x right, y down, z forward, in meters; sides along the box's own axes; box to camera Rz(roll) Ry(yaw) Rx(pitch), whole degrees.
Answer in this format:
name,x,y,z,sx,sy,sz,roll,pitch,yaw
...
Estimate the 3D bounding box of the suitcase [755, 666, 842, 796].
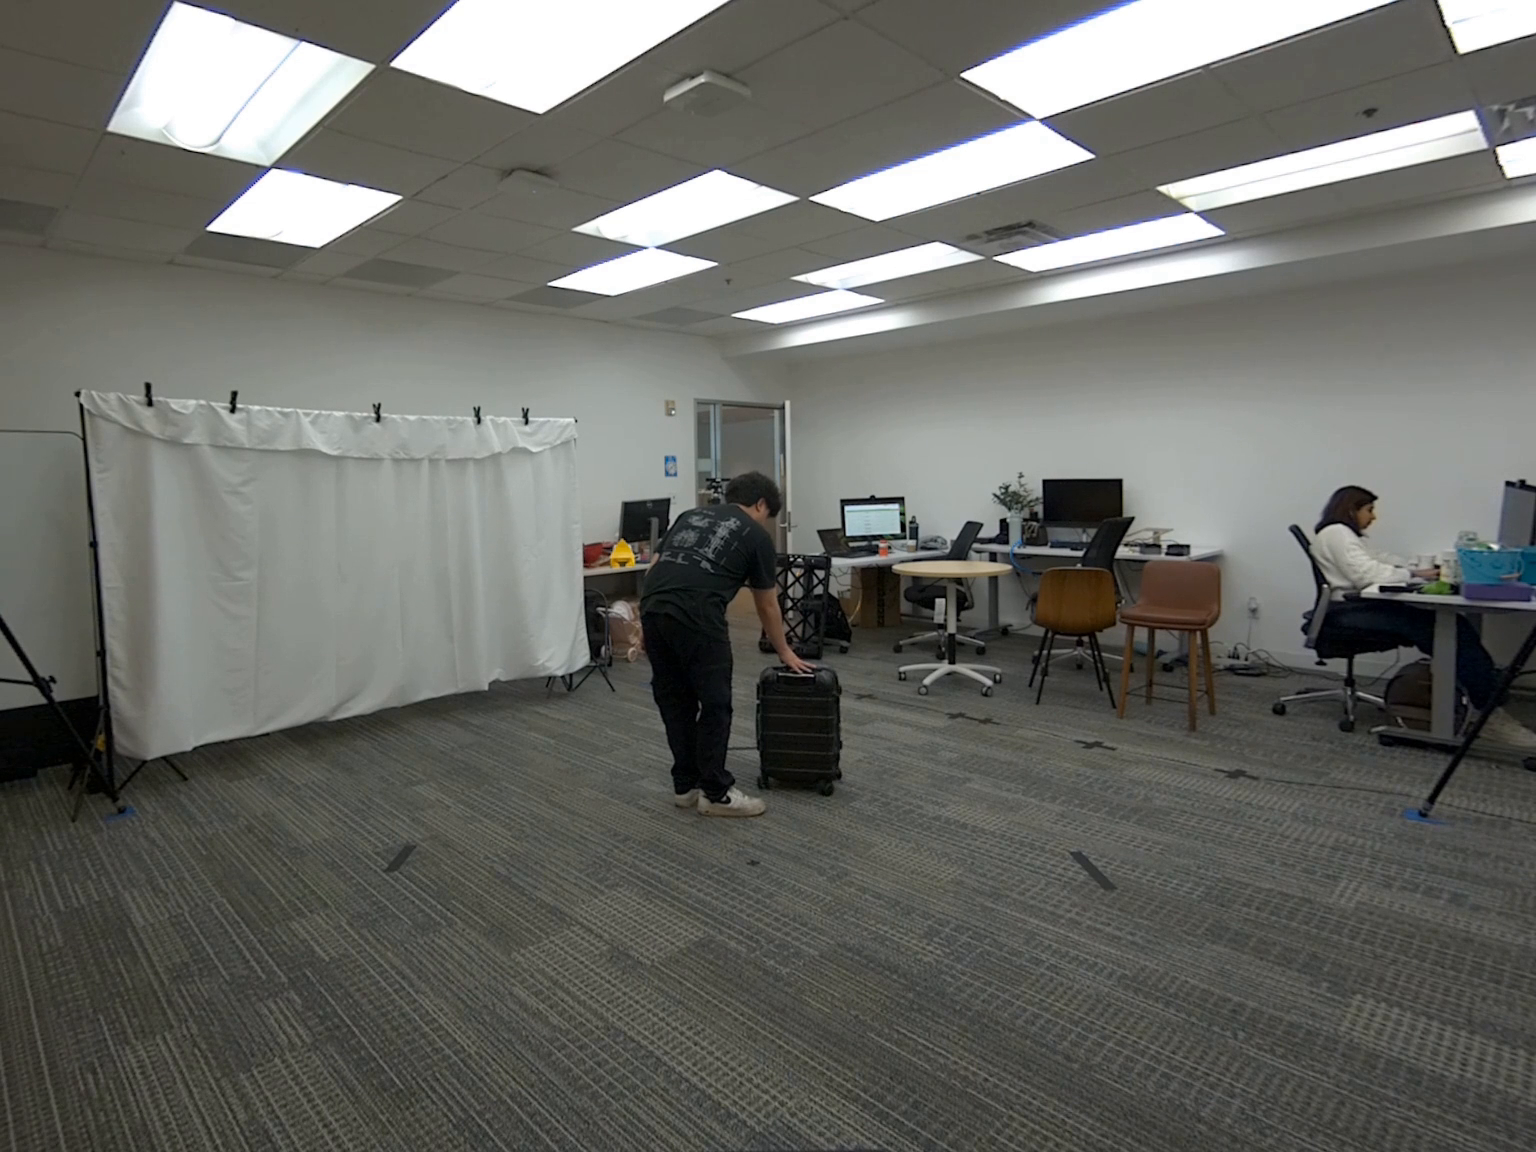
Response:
name,x,y,z,sx,sy,sz,roll,pitch,yaw
suitcase,0.142,0.676,3.899,0.380,0.548,0.246,0,3,12
